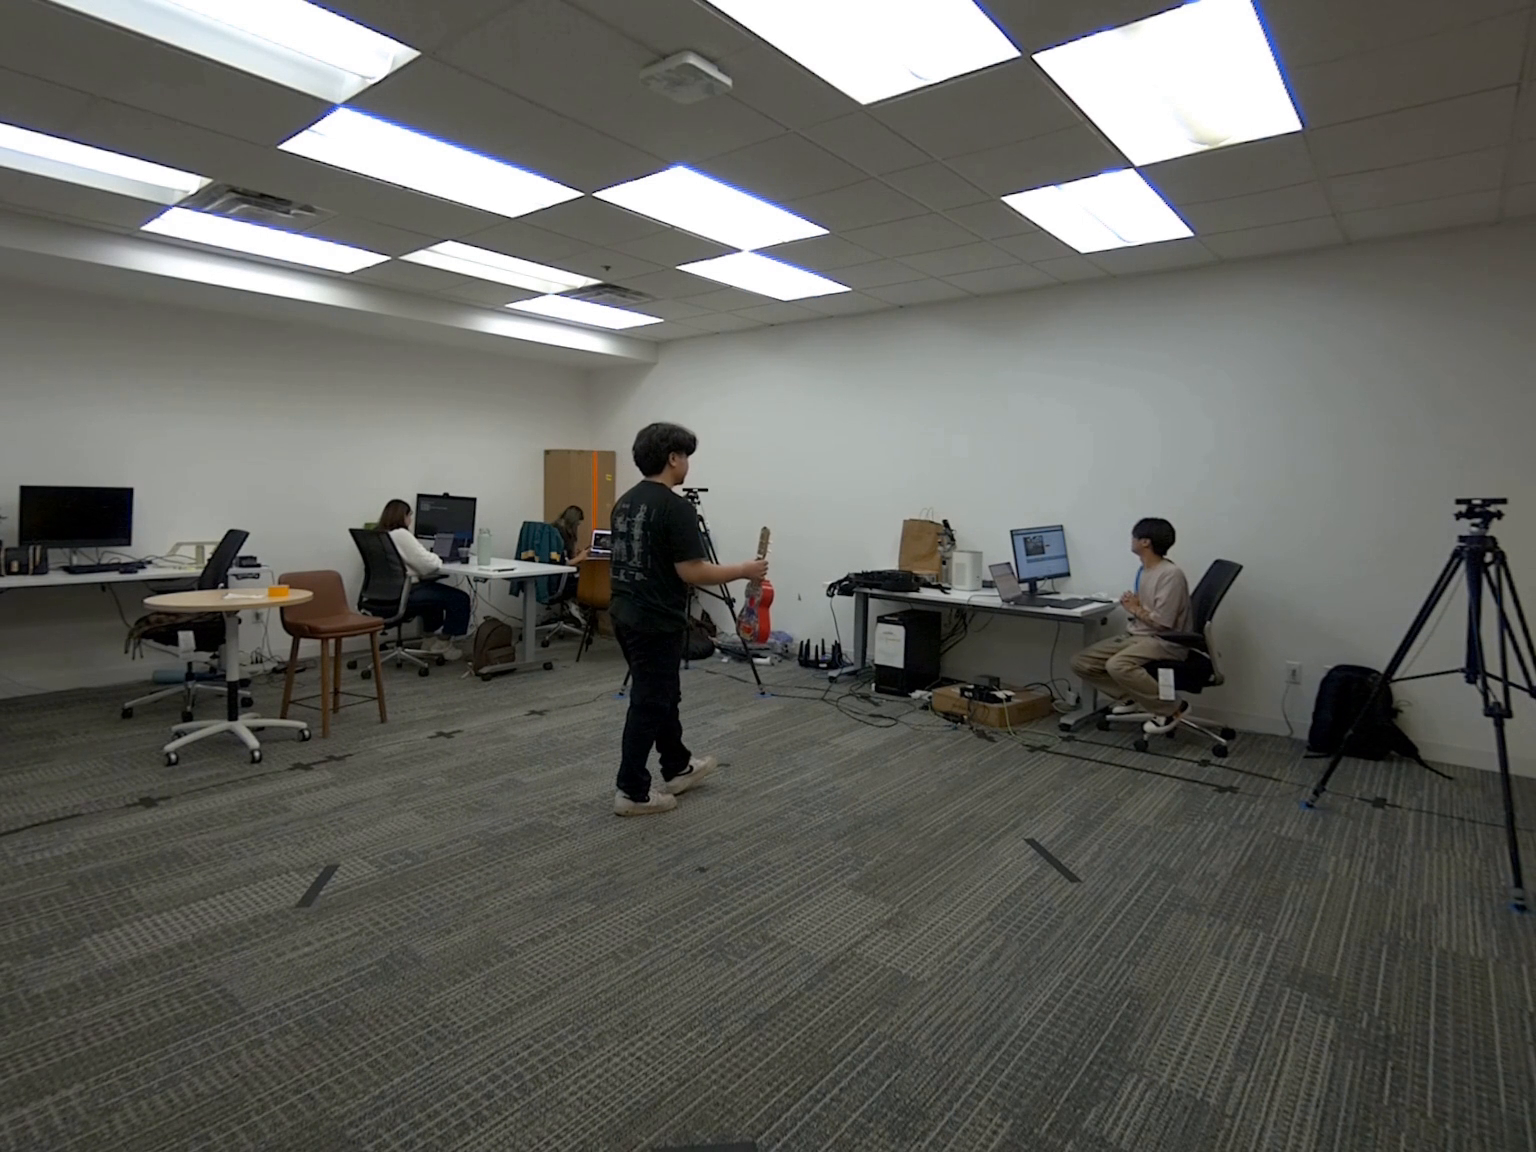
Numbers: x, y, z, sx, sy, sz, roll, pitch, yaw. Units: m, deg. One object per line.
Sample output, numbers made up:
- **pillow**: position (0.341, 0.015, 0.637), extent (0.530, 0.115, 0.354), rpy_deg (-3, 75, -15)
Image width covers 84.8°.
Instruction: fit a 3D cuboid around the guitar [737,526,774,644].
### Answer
- **guitar**: position (-0.030, 0.046, 3.627), extent (0.068, 0.494, 0.200), rpy_deg (9, 14, -29)
